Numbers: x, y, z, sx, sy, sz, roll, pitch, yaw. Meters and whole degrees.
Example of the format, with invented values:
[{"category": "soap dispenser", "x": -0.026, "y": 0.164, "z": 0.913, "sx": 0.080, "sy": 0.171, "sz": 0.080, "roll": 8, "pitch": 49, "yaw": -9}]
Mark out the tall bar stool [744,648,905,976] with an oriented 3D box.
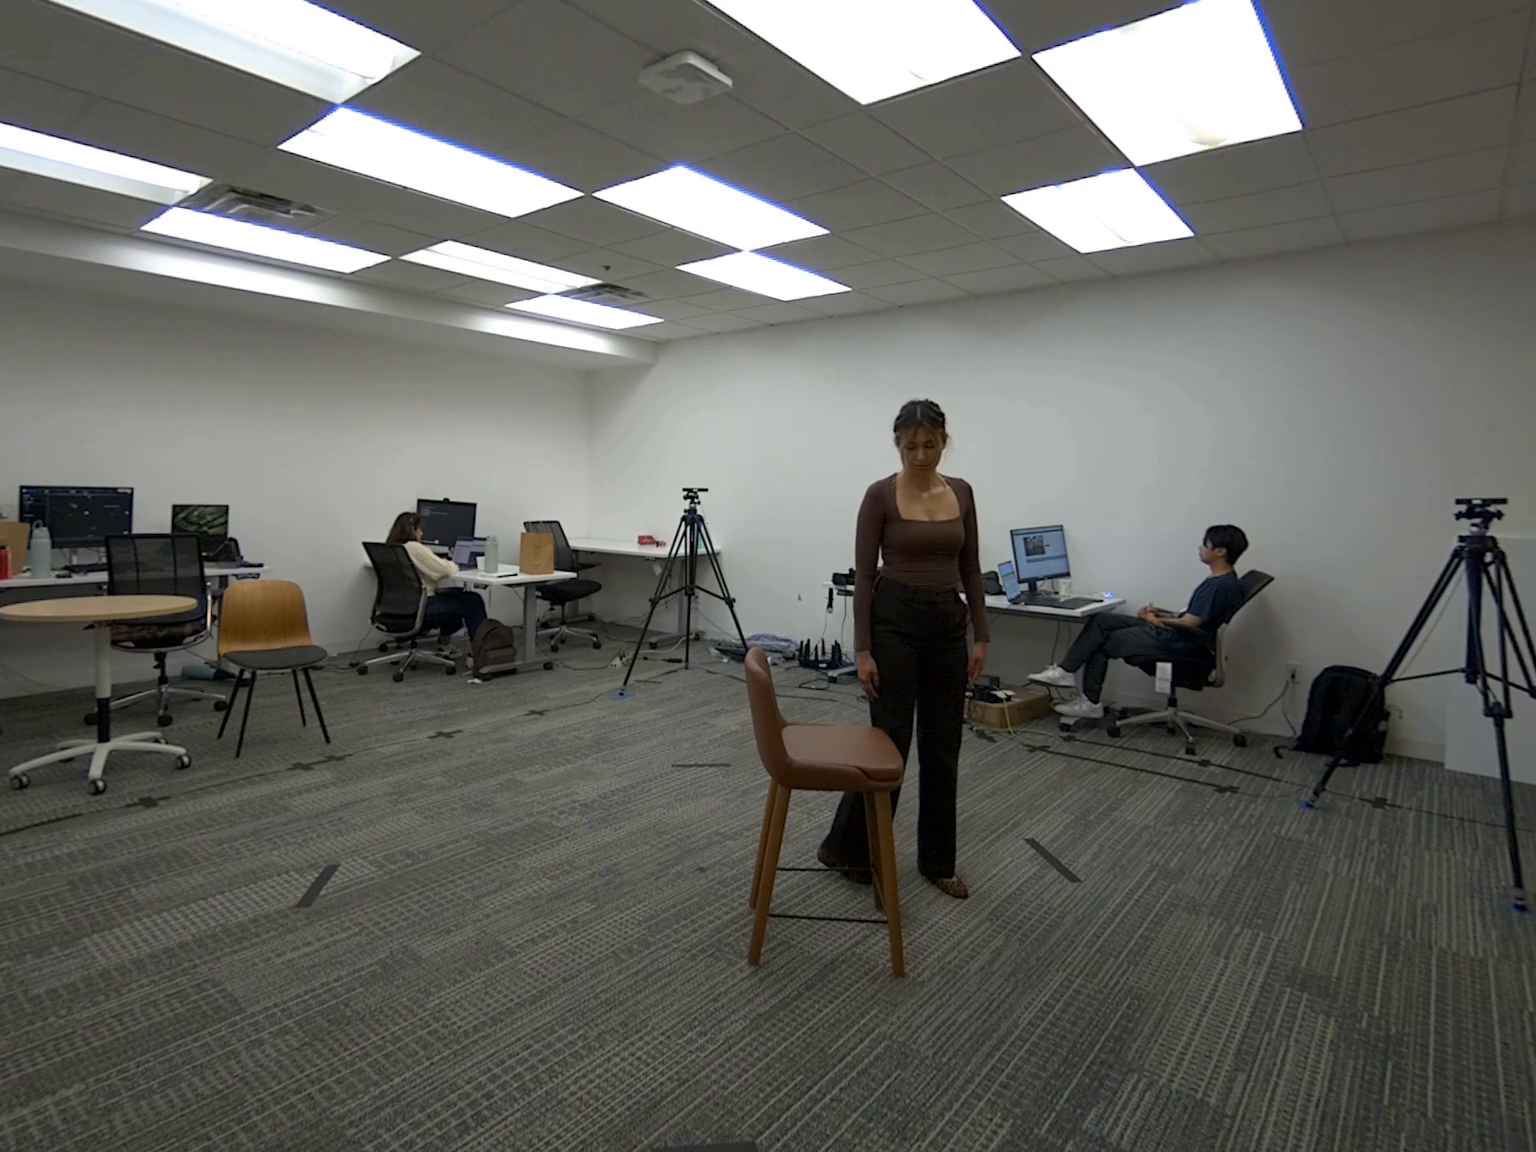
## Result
[{"category": "tall bar stool", "x": 0.168, "y": 0.689, "z": 2.630, "sx": 0.469, "sy": 0.887, "sz": 0.456, "roll": 0, "pitch": 3, "yaw": 2}]
